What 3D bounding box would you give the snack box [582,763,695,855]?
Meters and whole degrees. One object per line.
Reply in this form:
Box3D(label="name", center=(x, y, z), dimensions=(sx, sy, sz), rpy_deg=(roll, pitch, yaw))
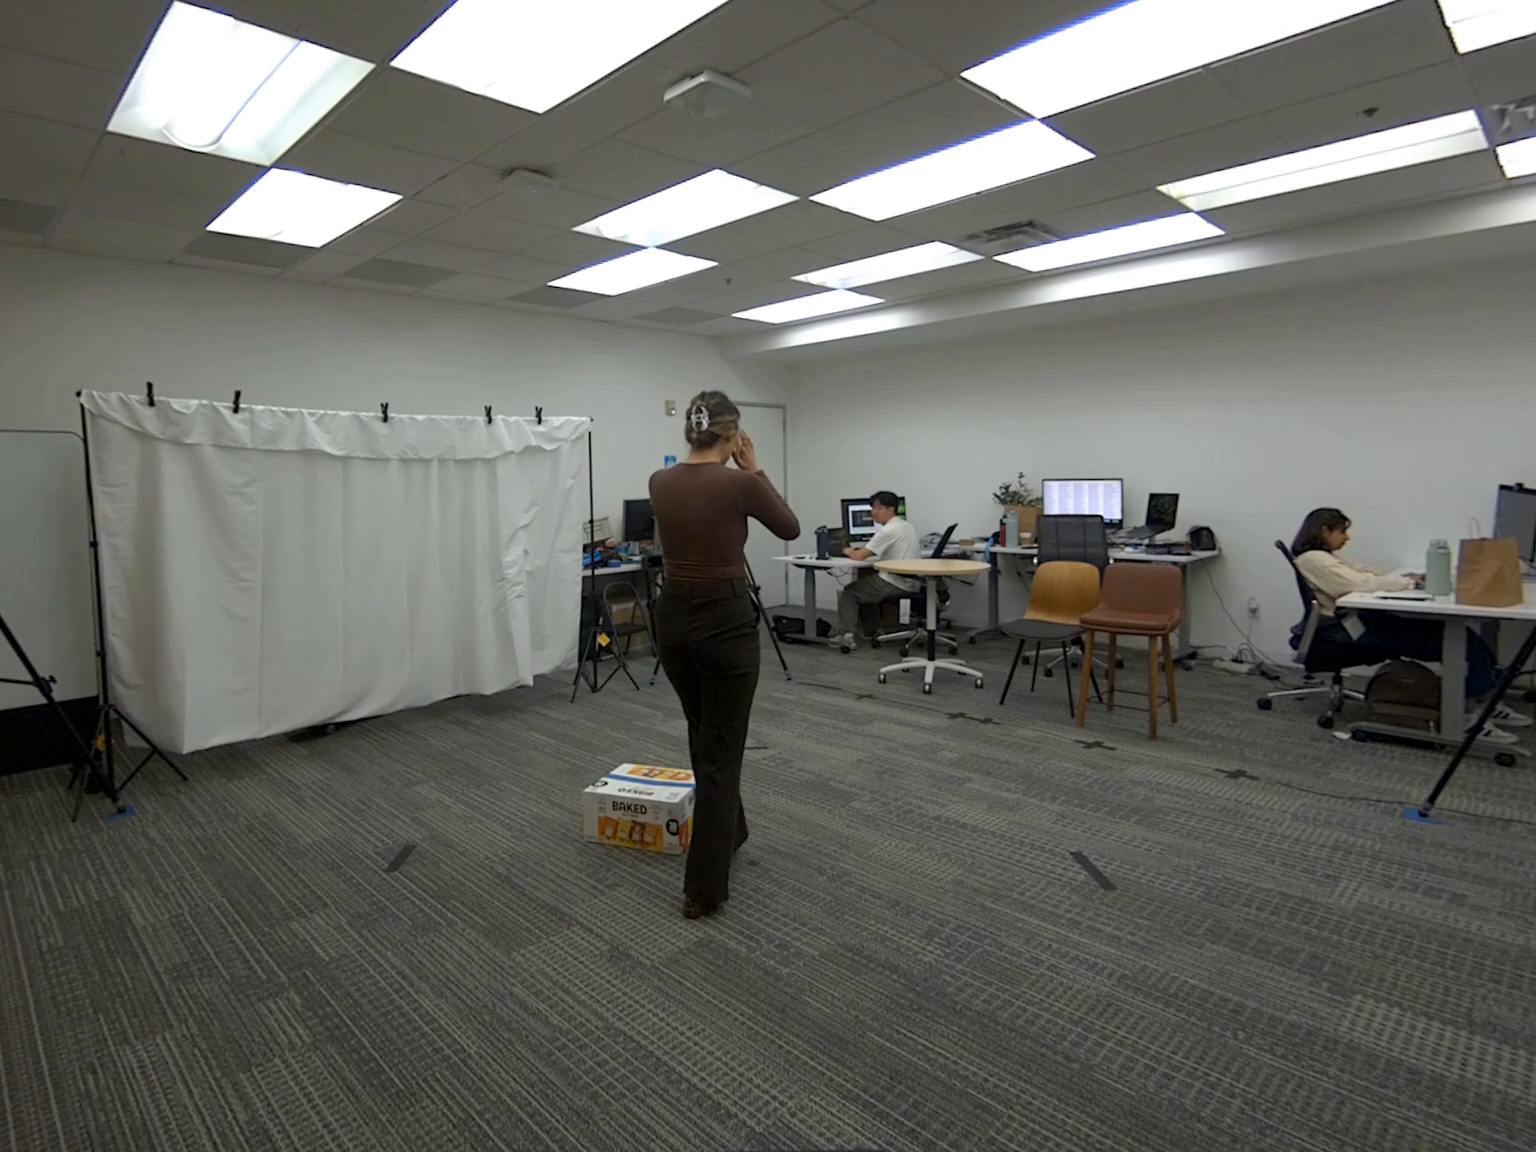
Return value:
Box3D(label="snack box", center=(-0.470, 0.914, 3.391), dimensions=(0.413, 0.205, 0.335), rpy_deg=(1, 6, 20))
